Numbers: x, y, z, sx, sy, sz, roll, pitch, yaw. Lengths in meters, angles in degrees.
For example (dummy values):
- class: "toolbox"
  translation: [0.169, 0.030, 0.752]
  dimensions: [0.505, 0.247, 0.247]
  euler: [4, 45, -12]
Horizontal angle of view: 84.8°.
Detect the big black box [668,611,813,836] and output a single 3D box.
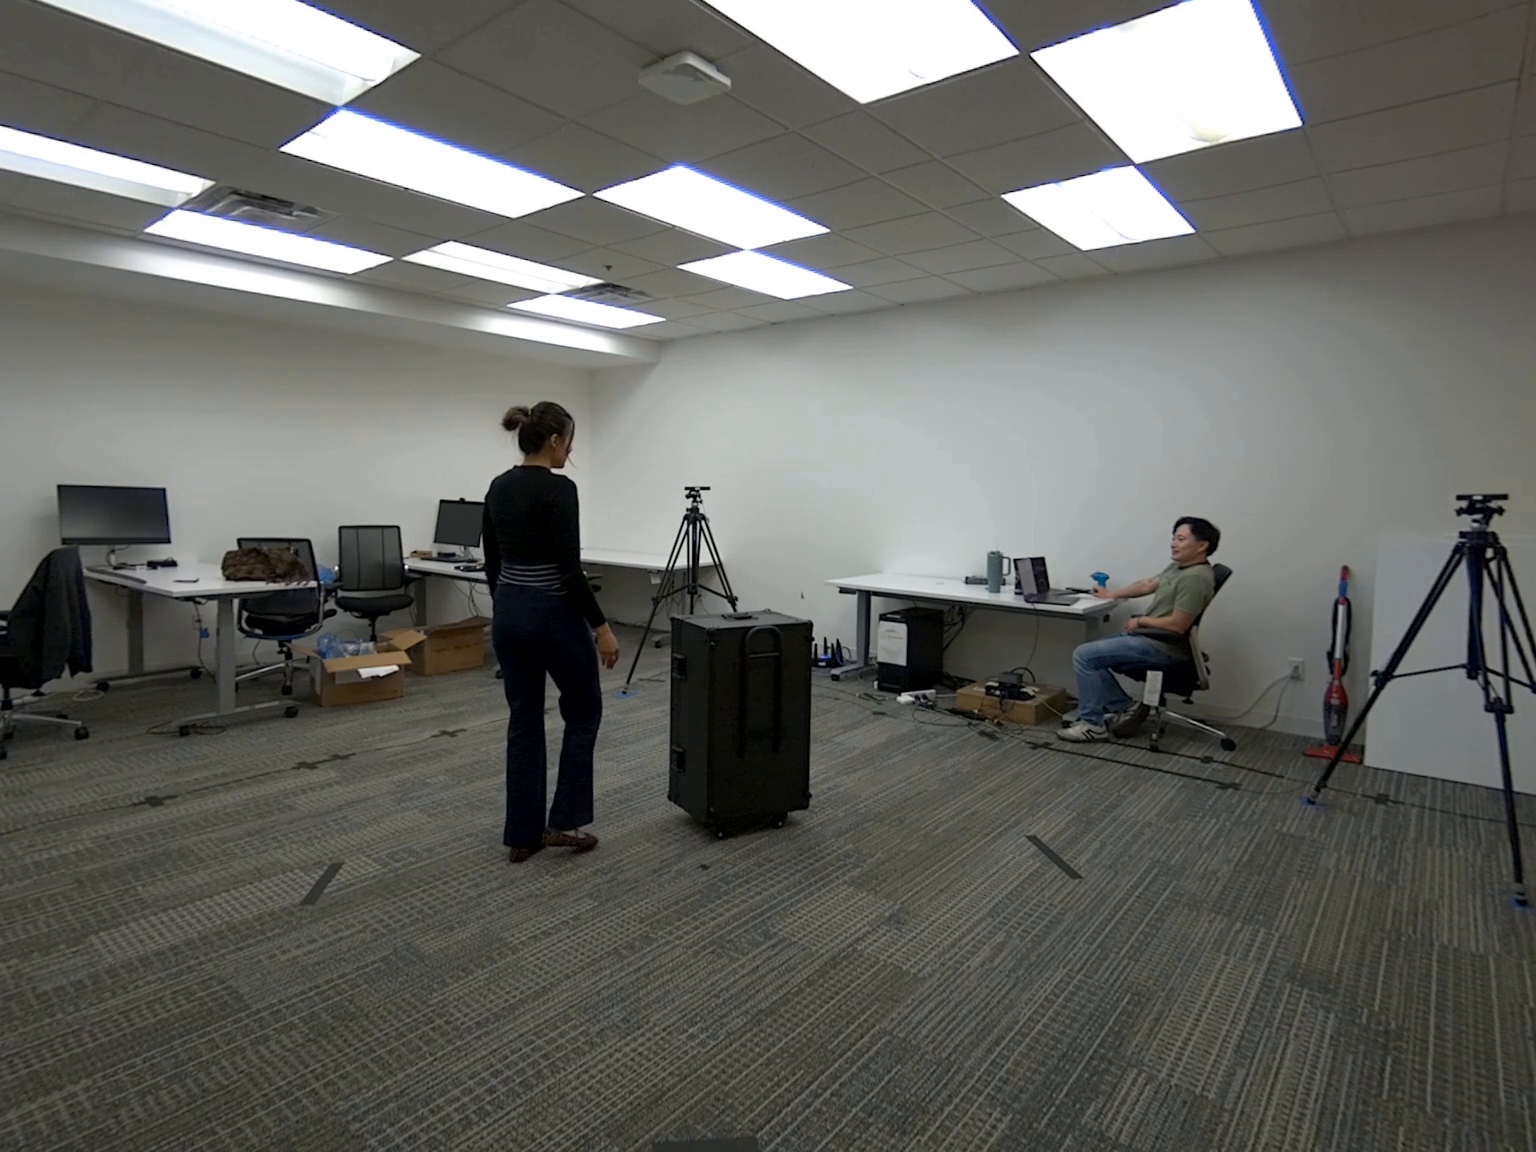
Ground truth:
- class: "big black box"
  translation: [-0.121, 0.598, 3.536]
  dimensions: [0.507, 0.858, 0.408]
  euler: [-1, 4, -30]
